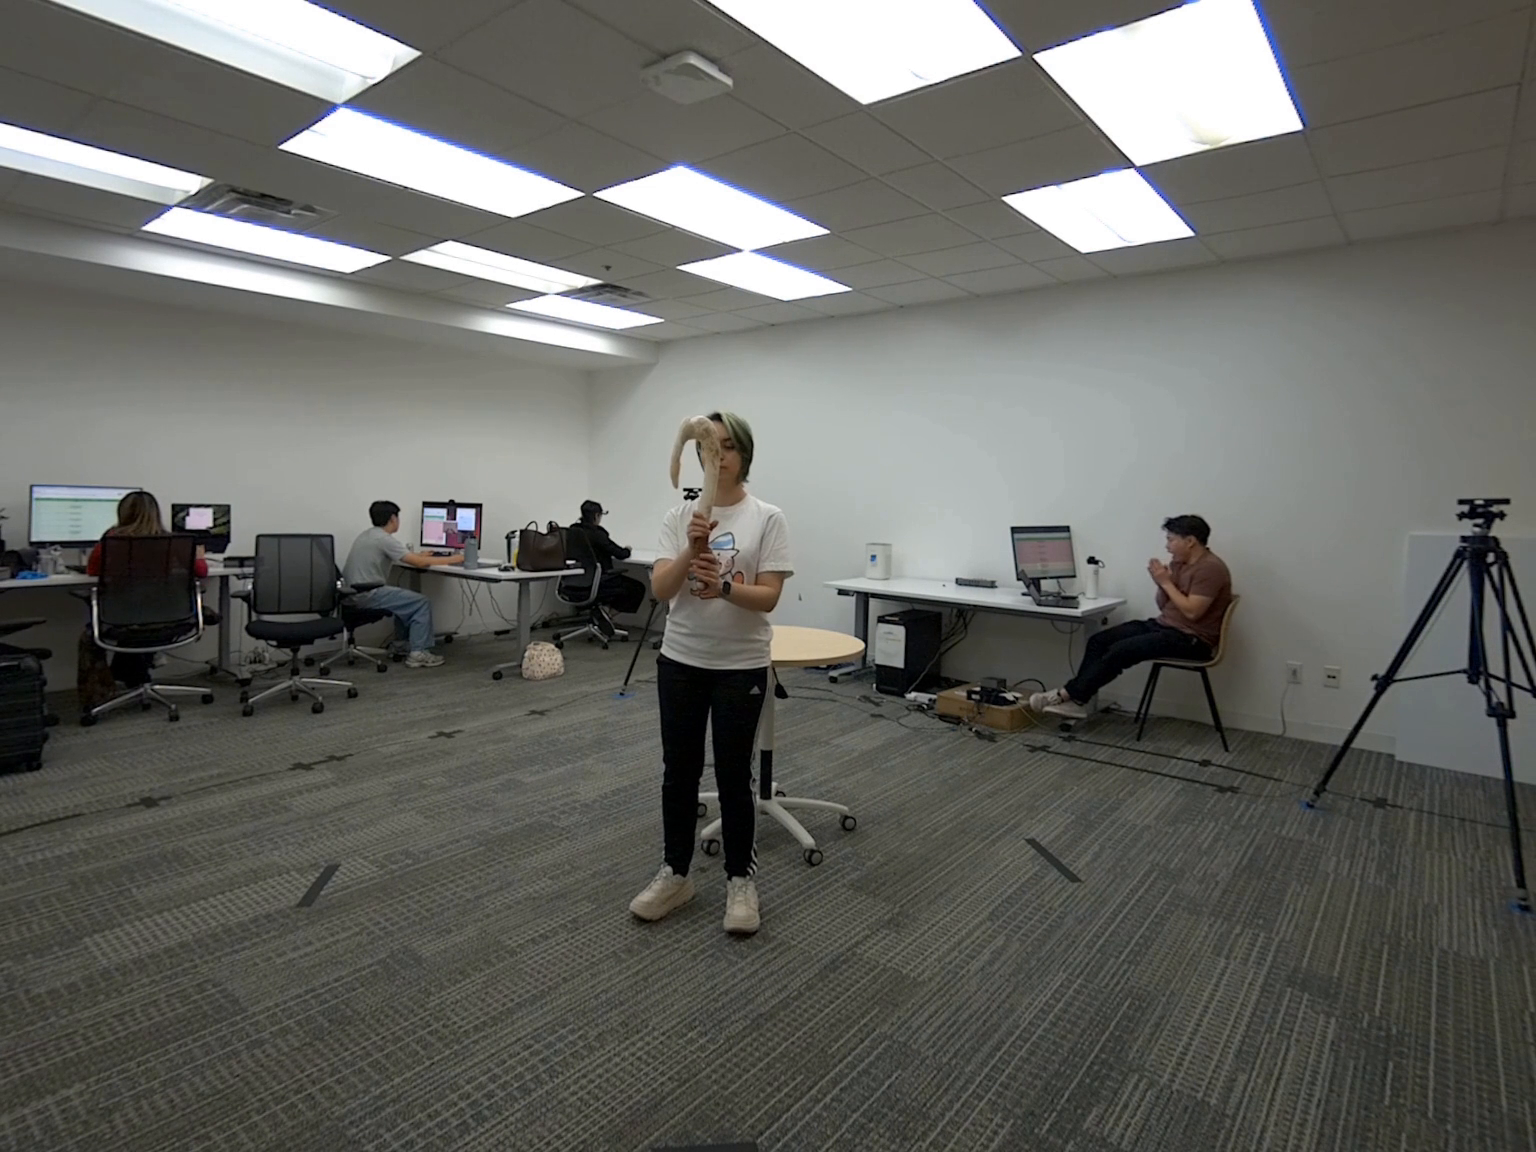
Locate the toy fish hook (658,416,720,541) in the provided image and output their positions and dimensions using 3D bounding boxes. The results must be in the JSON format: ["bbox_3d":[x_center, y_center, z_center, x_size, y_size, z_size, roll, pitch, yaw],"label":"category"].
[{"bbox_3d":[-0.224,-0.201,2.412,0.050,0.502,0.219,8,11,32],"label":"toy fish hook"}]
